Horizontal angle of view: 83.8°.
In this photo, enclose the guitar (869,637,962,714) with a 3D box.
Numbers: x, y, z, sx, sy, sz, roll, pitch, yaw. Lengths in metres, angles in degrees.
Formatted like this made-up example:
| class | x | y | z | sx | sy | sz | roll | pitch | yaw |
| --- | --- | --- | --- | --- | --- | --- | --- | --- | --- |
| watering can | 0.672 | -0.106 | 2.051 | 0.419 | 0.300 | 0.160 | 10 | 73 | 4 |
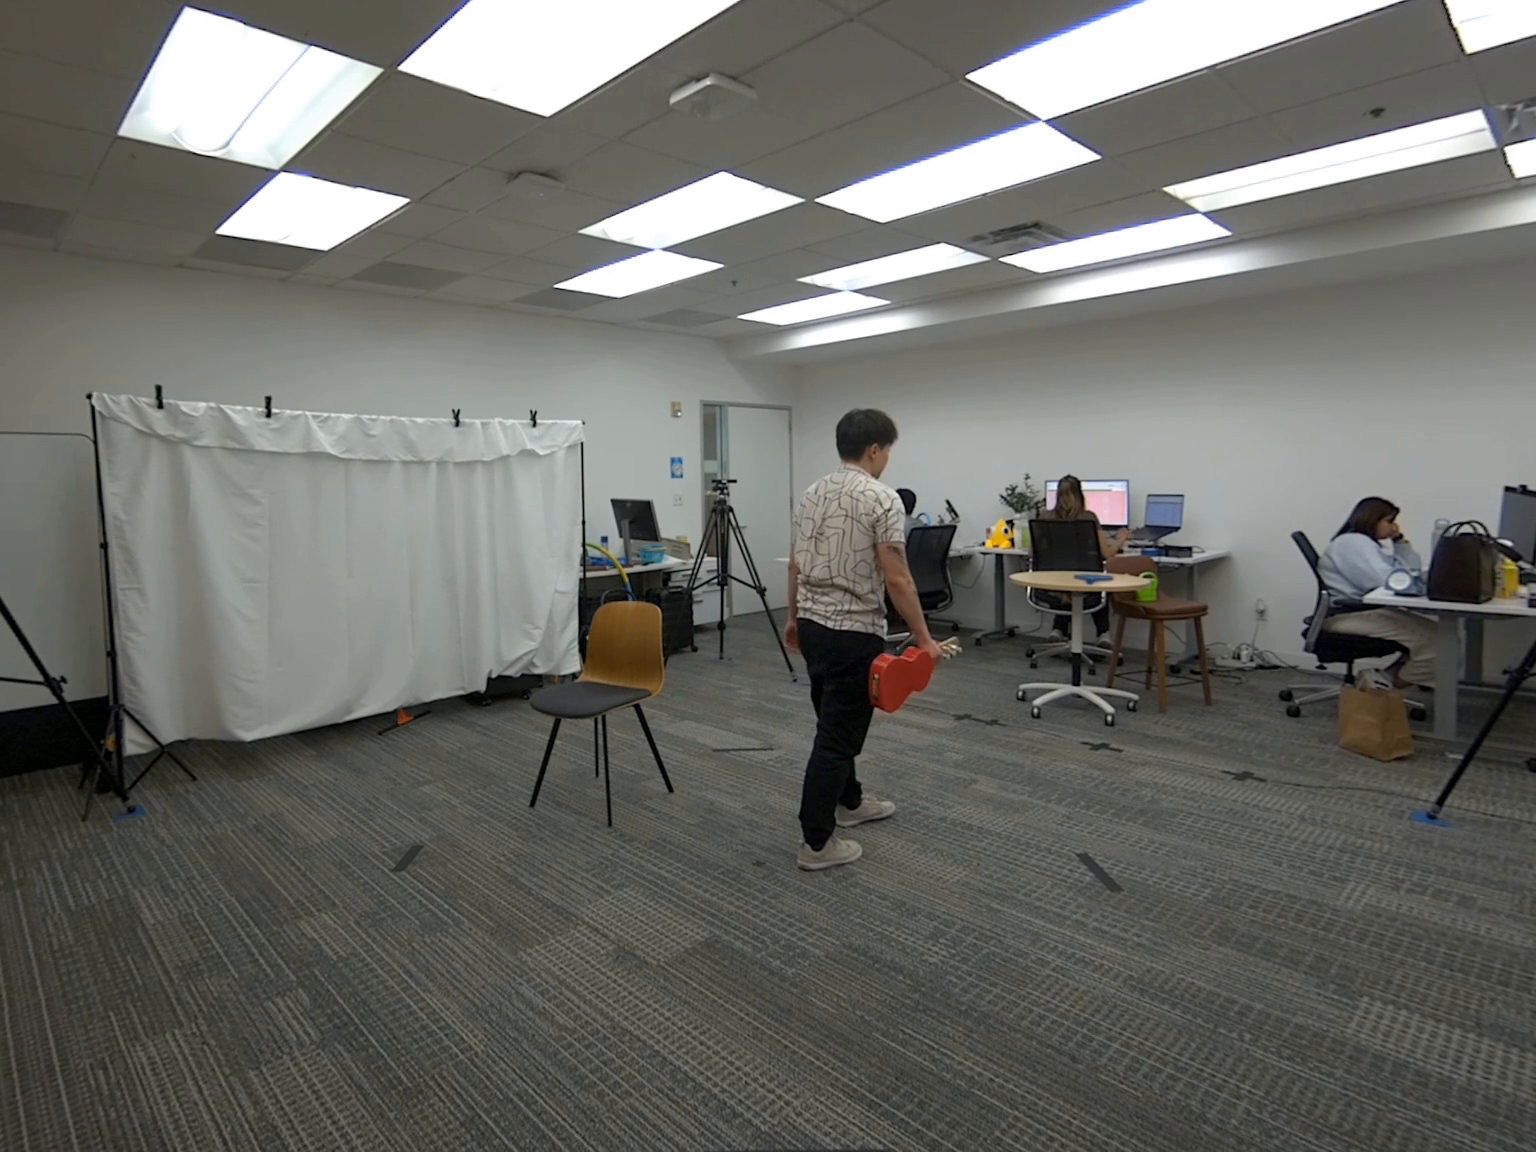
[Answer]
| class | x | y | z | sx | sy | sz | roll | pitch | yaw |
| --- | --- | --- | --- | --- | --- | --- | --- | --- | --- |
| guitar | 0.524 | 0.286 | 2.977 | 0.491 | 0.189 | 0.073 | -26 | 25 | -31 |
